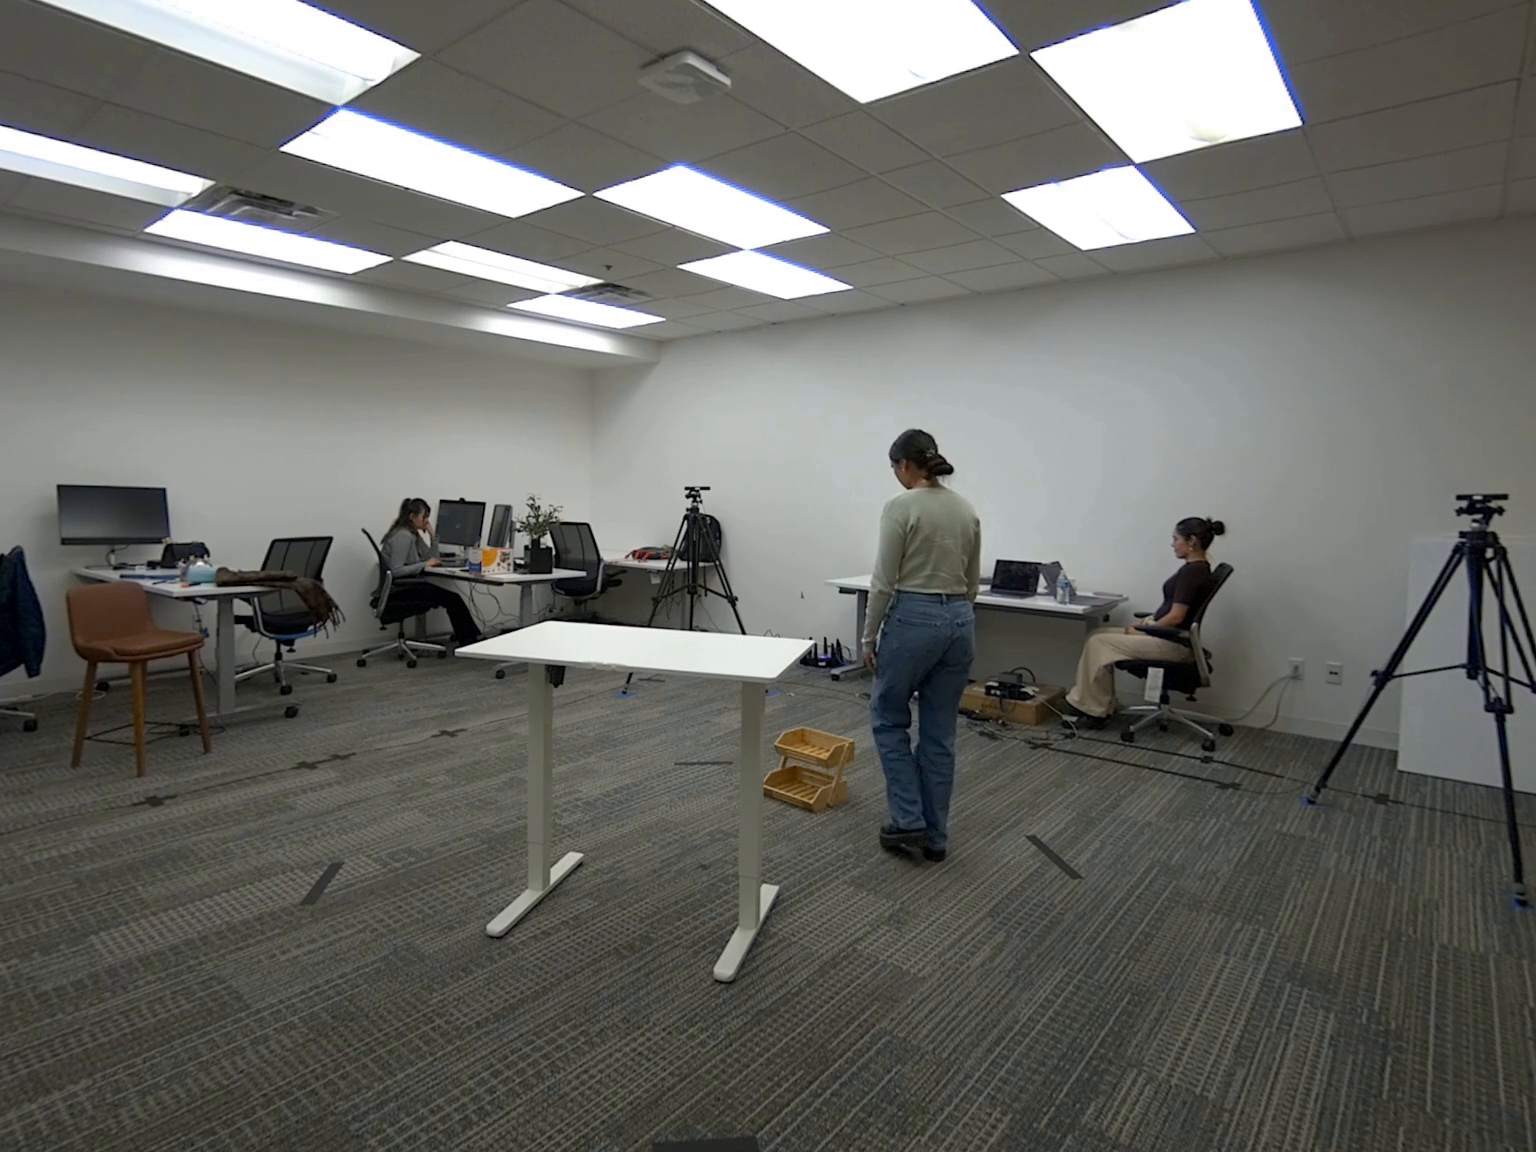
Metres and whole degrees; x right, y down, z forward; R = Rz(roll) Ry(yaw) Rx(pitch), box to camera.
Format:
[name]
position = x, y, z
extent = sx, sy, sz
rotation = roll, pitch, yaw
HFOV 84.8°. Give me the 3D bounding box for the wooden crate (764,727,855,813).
[wooden crate]
position = 0.168, 0.861, 3.856
extent = 0.335, 0.272, 0.293
rotation = 5, 6, 42
